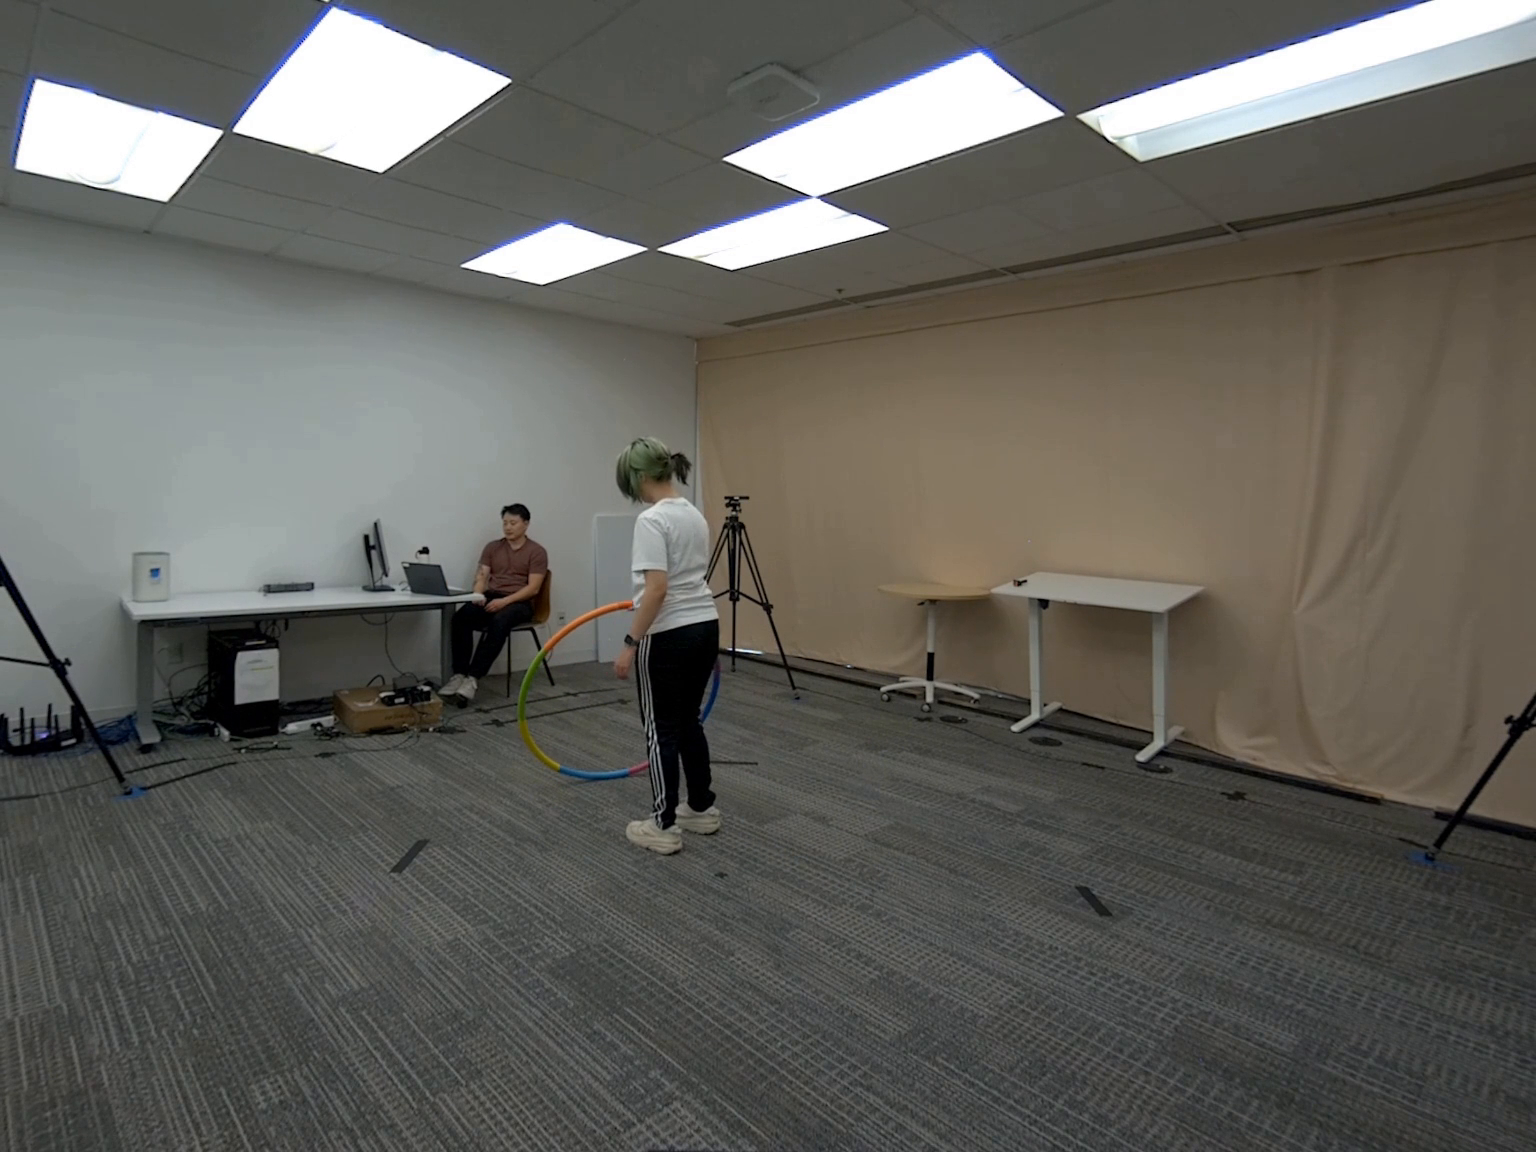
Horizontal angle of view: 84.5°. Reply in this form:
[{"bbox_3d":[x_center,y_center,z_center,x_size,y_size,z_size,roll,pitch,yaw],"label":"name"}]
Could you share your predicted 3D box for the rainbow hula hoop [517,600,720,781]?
[{"bbox_3d":[-0.688,0.549,3.953,0.961,0.966,0.036,0,26,-26],"label":"rainbow hula hoop"}]
